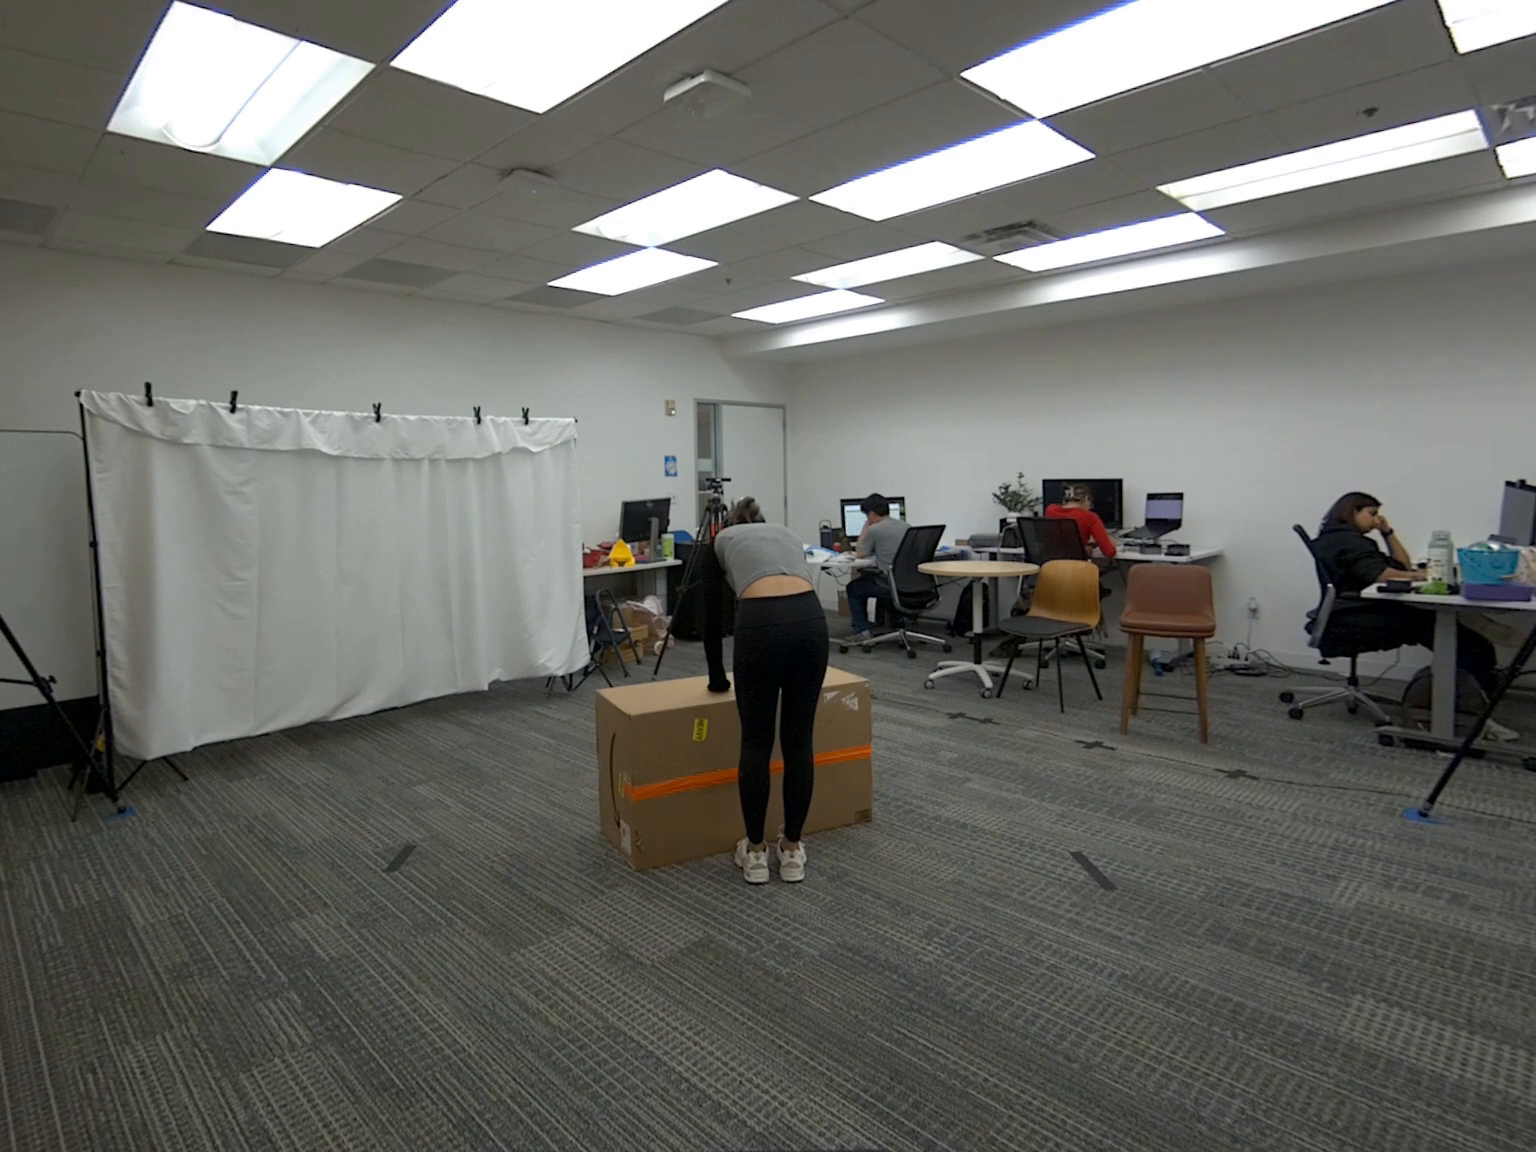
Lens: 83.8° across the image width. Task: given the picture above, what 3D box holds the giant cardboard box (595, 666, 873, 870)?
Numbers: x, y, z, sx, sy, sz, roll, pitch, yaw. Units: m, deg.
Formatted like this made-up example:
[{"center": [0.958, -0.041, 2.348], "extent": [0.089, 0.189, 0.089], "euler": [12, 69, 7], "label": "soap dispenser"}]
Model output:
[{"center": [-0.131, 0.719, 3.429], "extent": [1.005, 0.575, 0.437], "euler": [-4, 5, -25], "label": "giant cardboard box"}]
